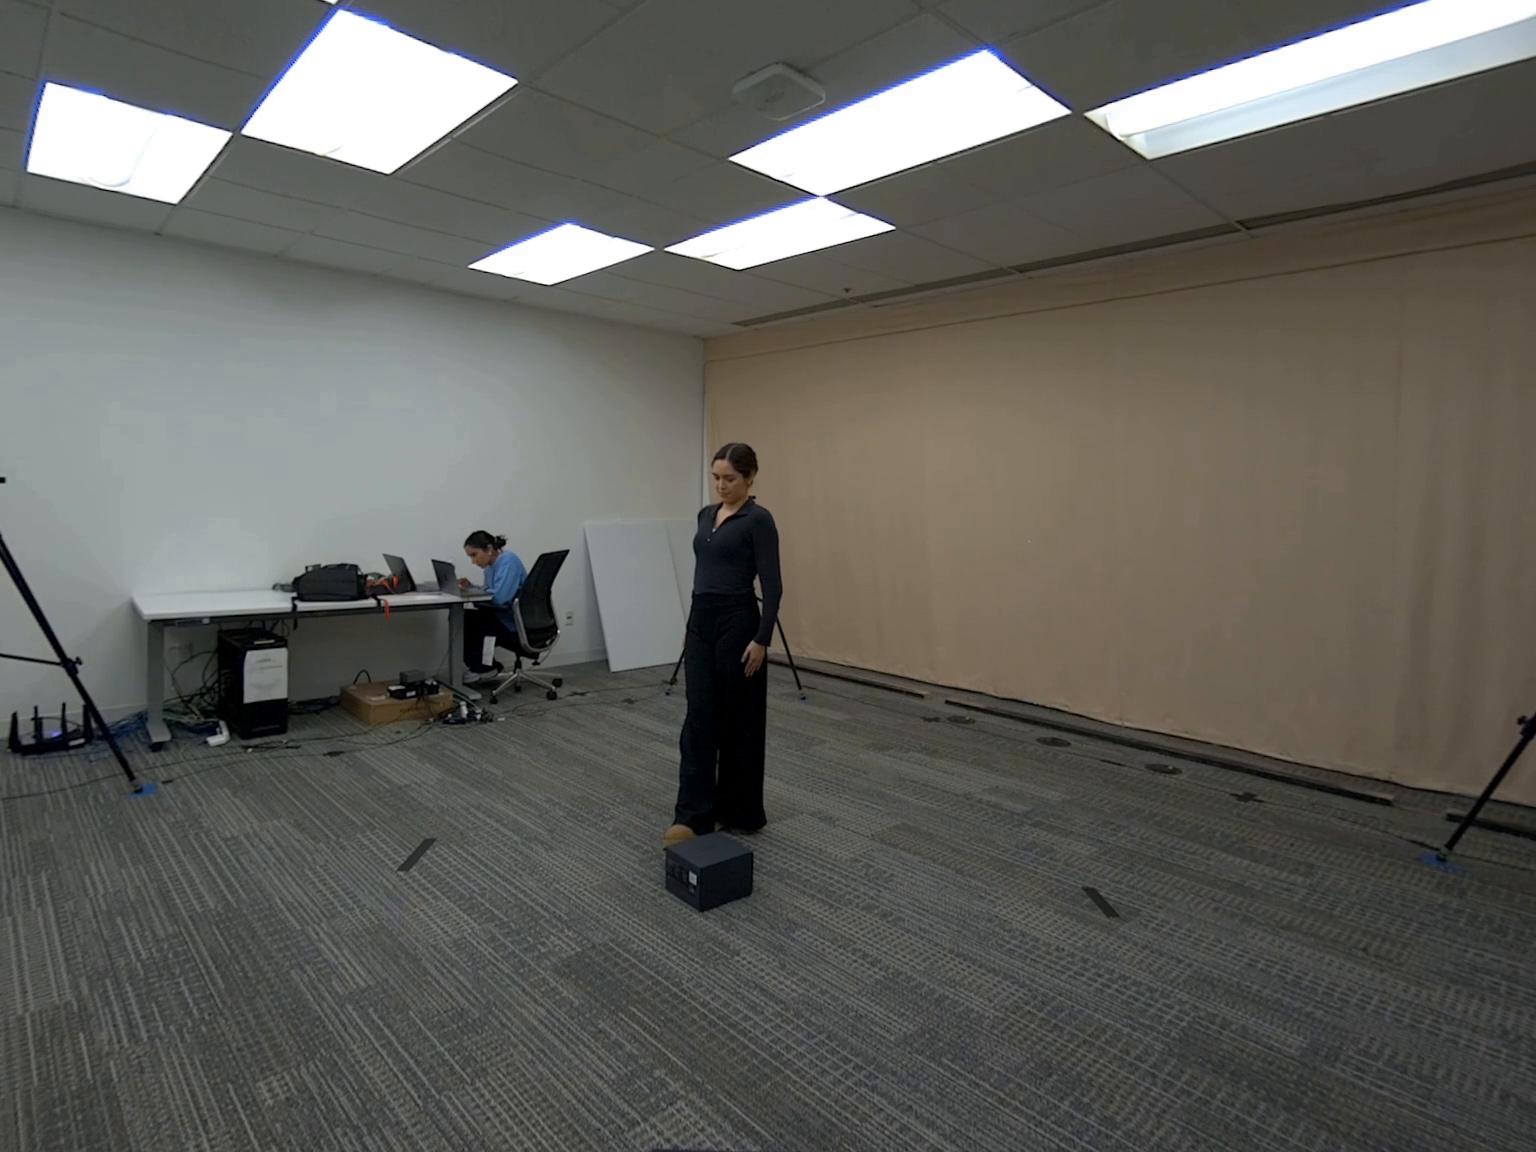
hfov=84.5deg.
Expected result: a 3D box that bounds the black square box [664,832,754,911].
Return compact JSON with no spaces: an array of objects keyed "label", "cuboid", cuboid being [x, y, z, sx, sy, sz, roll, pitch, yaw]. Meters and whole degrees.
[{"label":"black square box","cuboid":[-0.223,1.032,2.959,0.223,0.155,0.222,-4,7,-40]}]
